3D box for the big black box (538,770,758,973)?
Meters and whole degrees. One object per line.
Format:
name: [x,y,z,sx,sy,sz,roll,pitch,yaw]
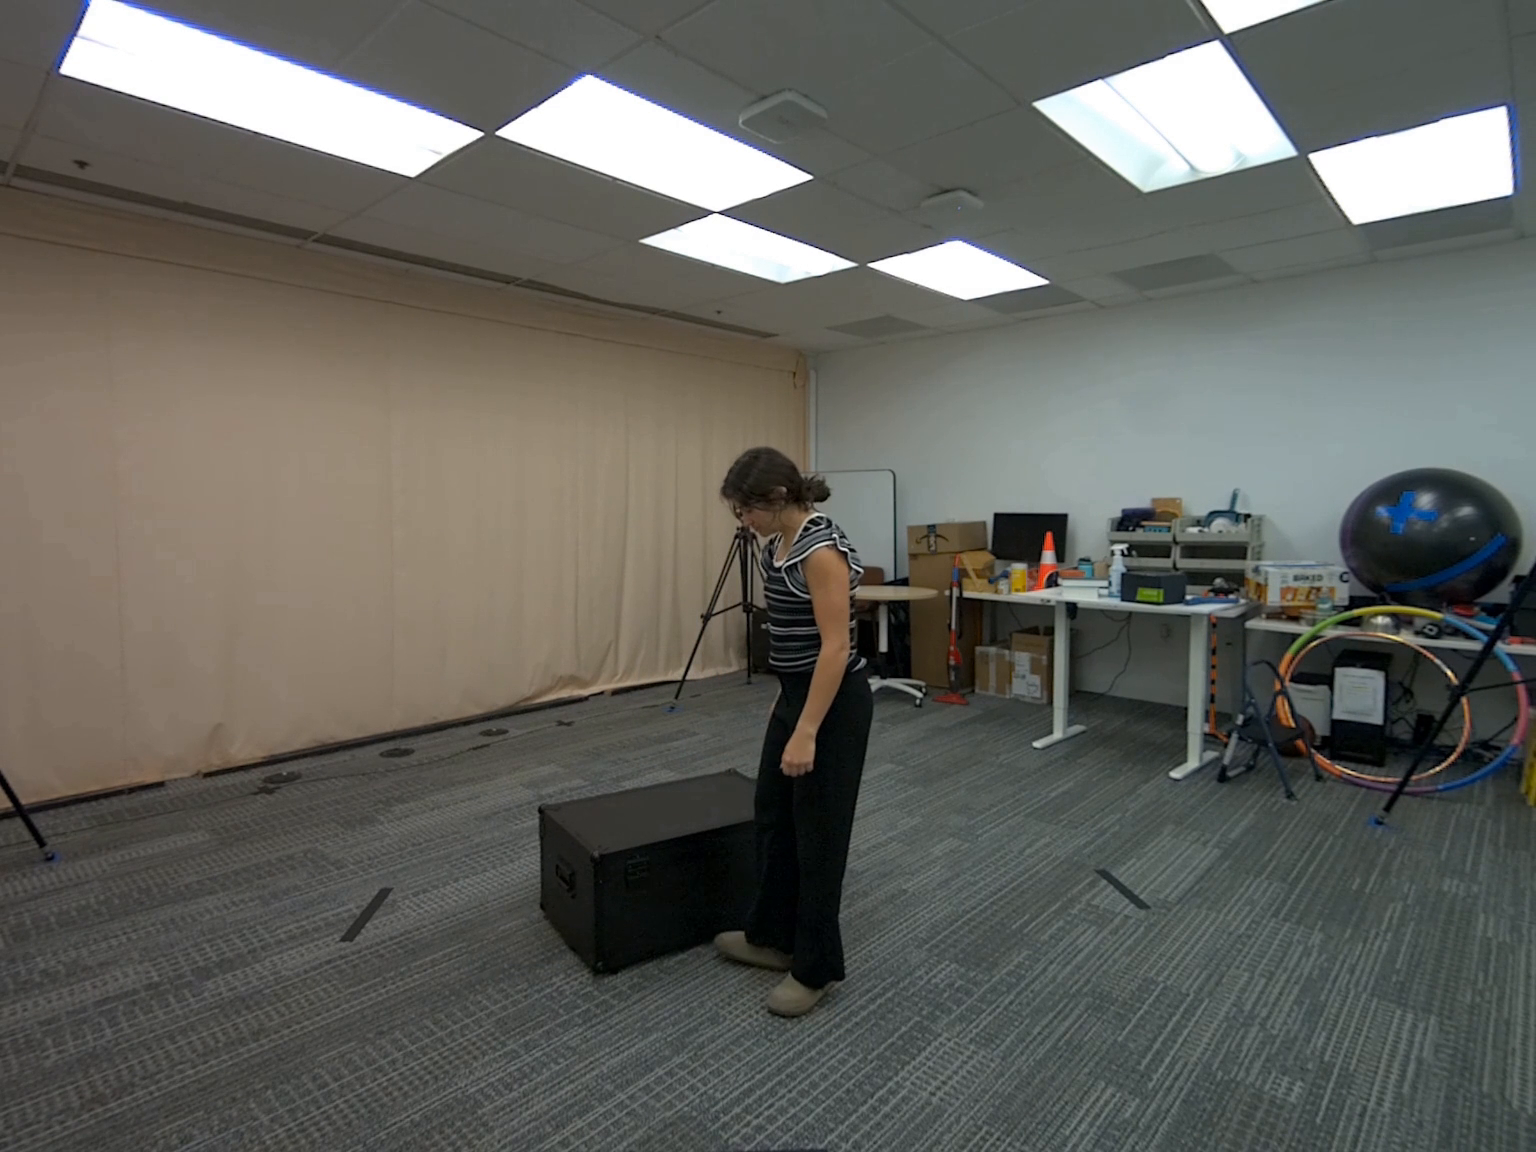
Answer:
big black box: [-0.293,0.964,2.873,0.838,0.395,0.537,-4,5,-32]
